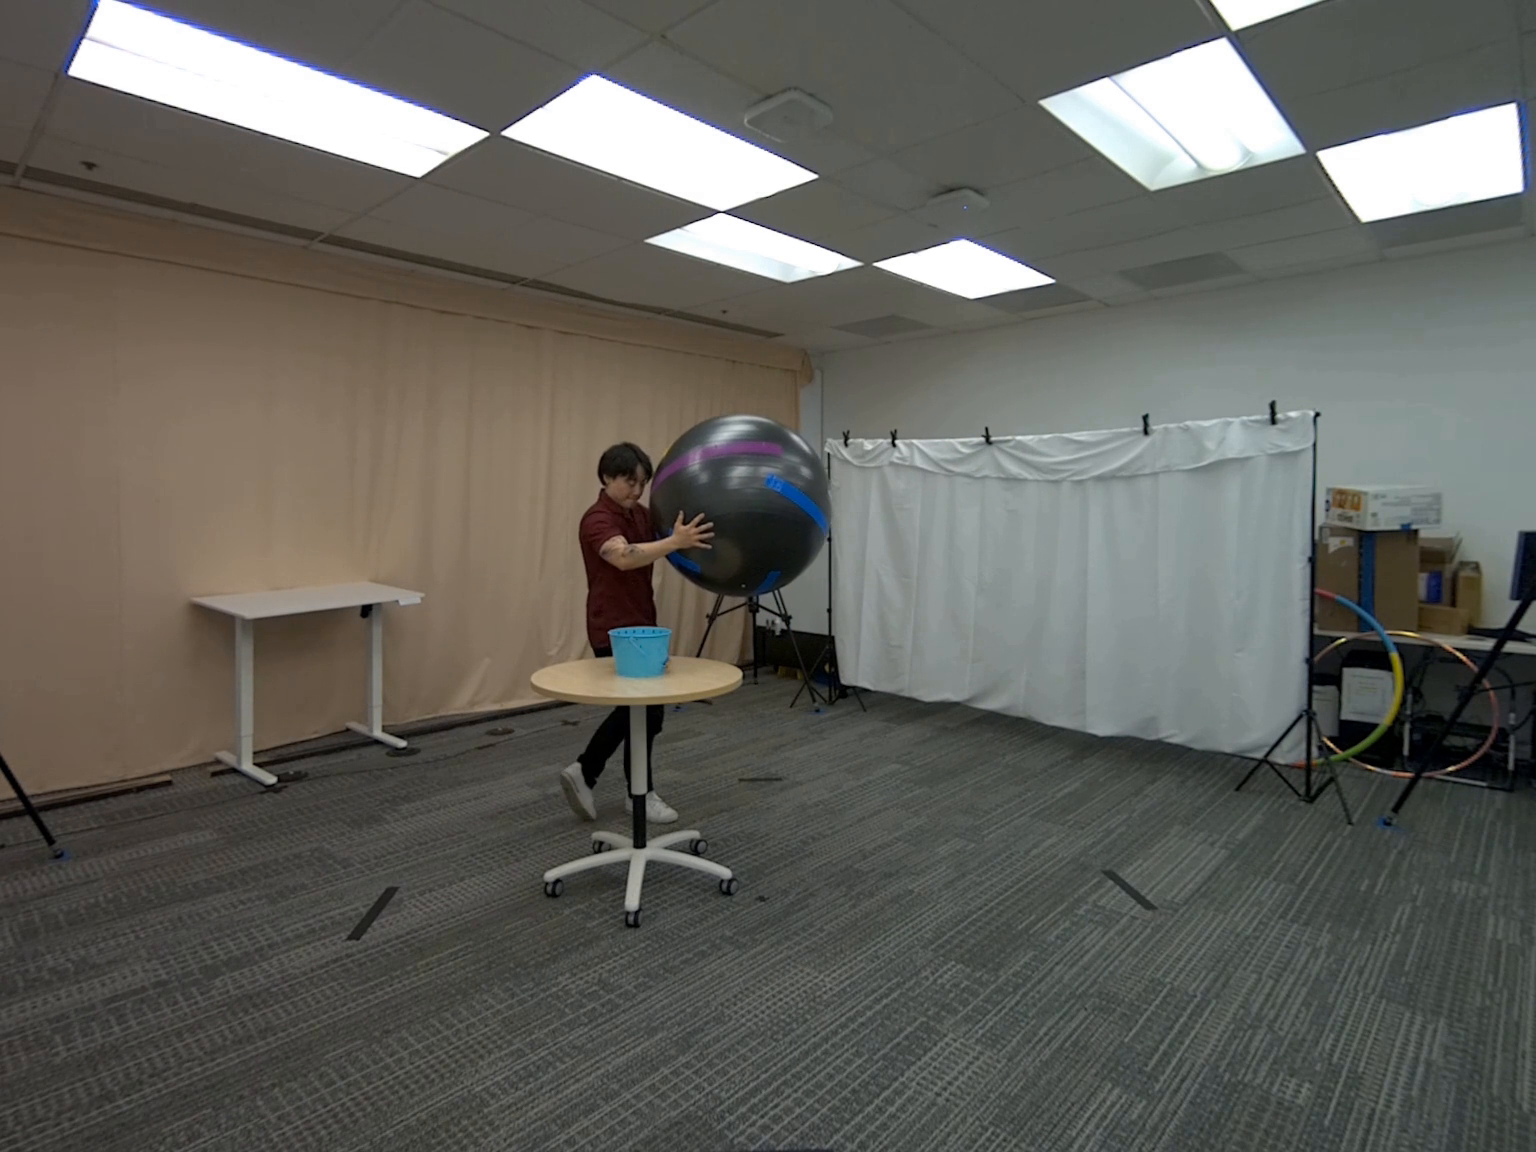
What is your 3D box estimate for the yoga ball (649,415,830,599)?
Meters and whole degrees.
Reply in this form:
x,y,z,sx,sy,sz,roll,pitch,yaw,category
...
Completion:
x,y,z,sx,sy,sz,roll,pitch,yaw,category
-0.113,-0.284,3.510,0.757,0.756,0.761,0,4,-2,yoga ball
